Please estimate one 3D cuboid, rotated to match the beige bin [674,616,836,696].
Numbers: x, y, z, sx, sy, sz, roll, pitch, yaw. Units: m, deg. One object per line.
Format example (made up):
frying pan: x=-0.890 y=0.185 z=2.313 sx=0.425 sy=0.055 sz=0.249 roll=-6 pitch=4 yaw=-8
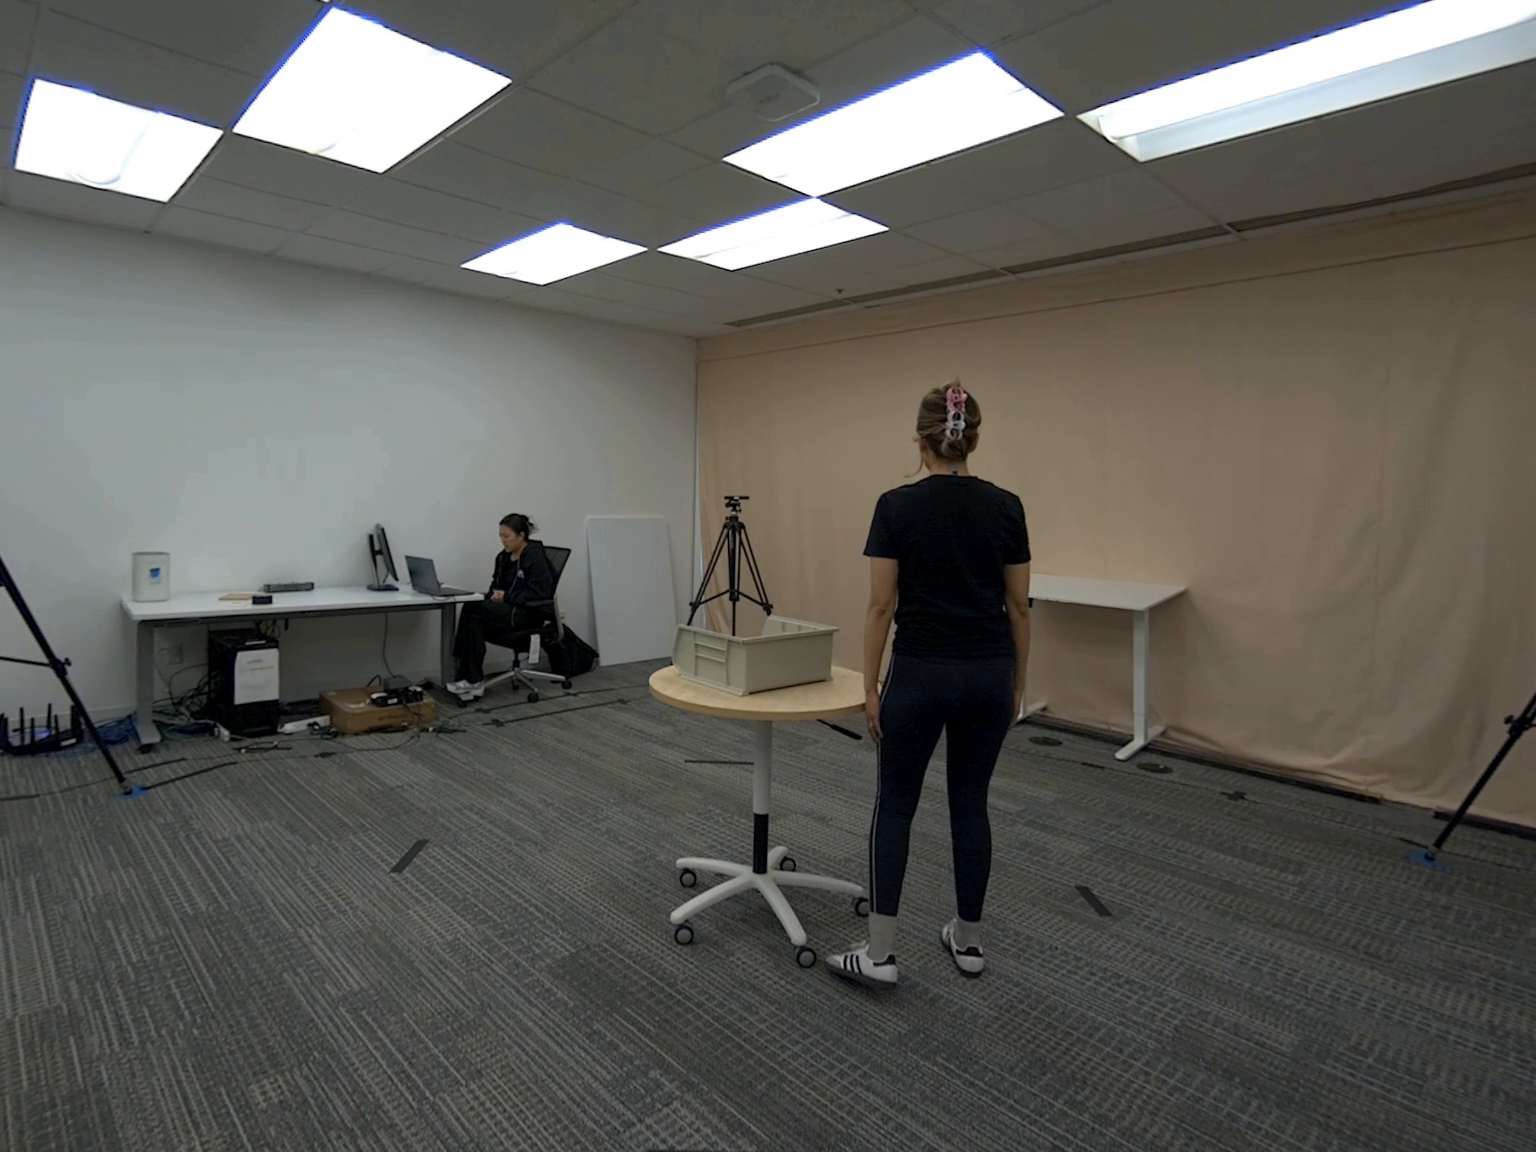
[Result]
beige bin: x=-0.053 y=0.258 z=2.823 sx=0.413 sy=0.188 sz=0.387 roll=-3 pitch=7 yaw=-41
